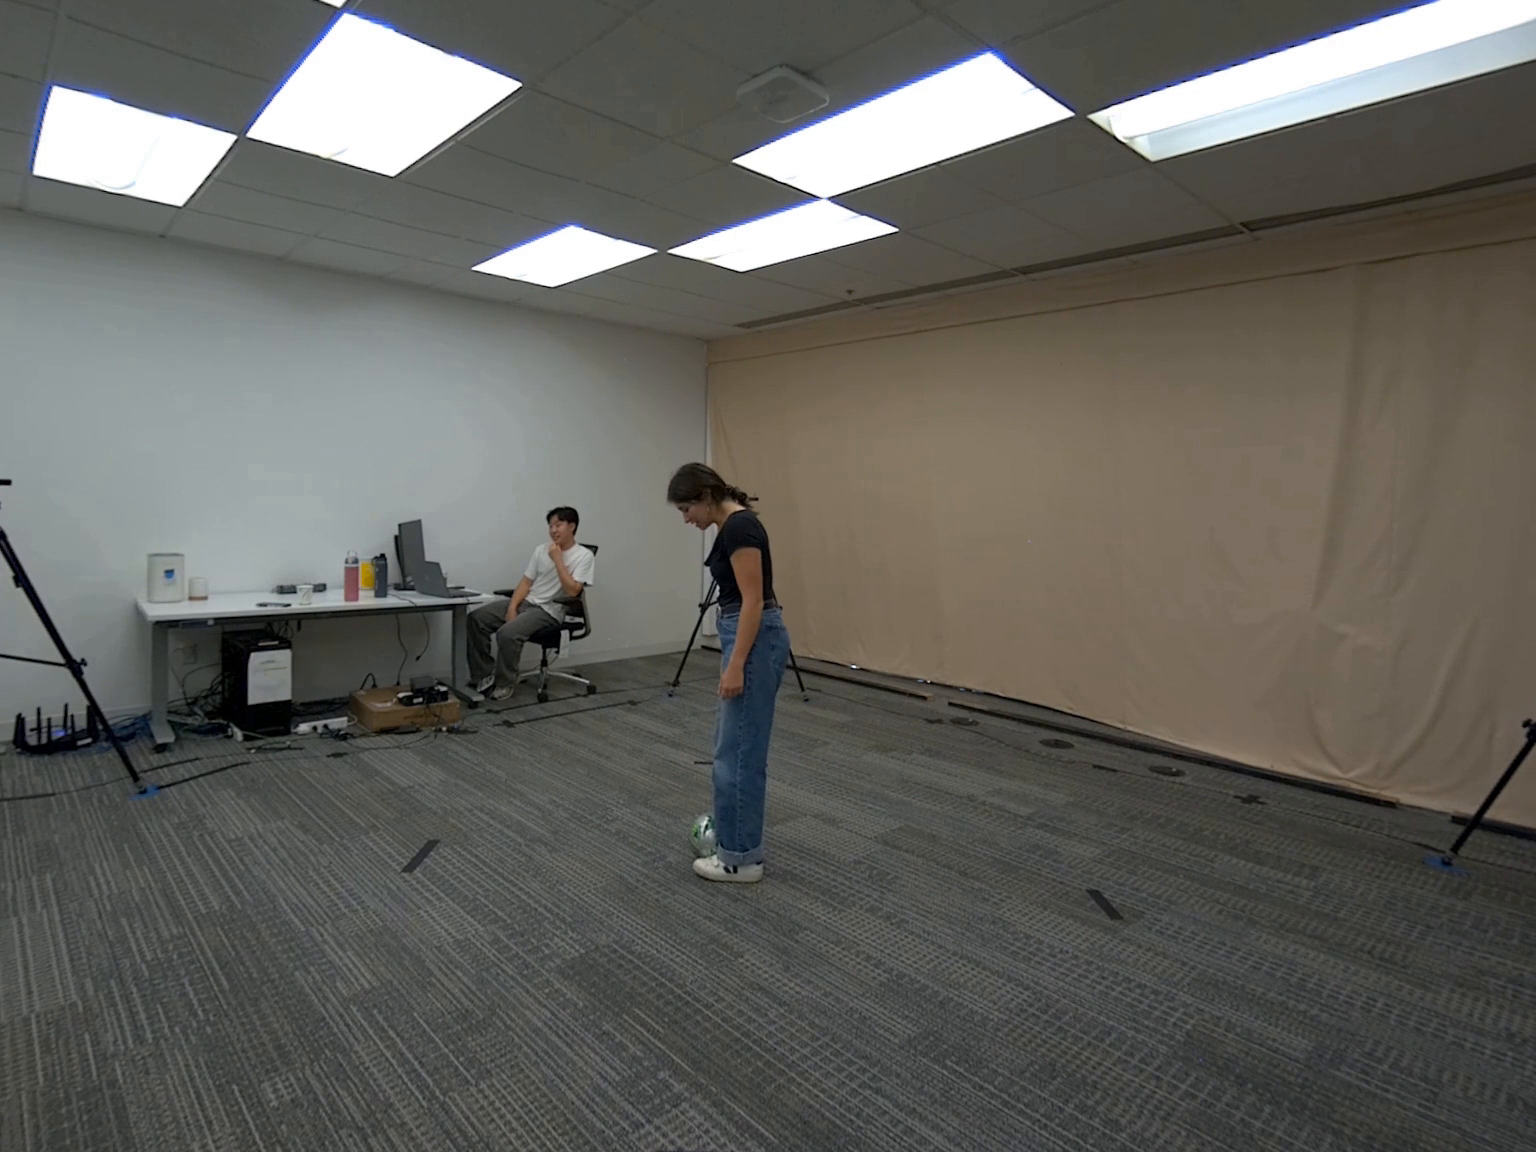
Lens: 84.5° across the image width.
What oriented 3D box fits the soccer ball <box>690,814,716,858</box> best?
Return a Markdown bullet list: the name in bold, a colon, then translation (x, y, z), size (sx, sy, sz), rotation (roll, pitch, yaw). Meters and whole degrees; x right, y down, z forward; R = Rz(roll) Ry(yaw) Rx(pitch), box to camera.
- **soccer ball**: translation (-0.222, 1.012, 3.208), size (0.187, 0.187, 0.188), rotation (1, 4, -1)
